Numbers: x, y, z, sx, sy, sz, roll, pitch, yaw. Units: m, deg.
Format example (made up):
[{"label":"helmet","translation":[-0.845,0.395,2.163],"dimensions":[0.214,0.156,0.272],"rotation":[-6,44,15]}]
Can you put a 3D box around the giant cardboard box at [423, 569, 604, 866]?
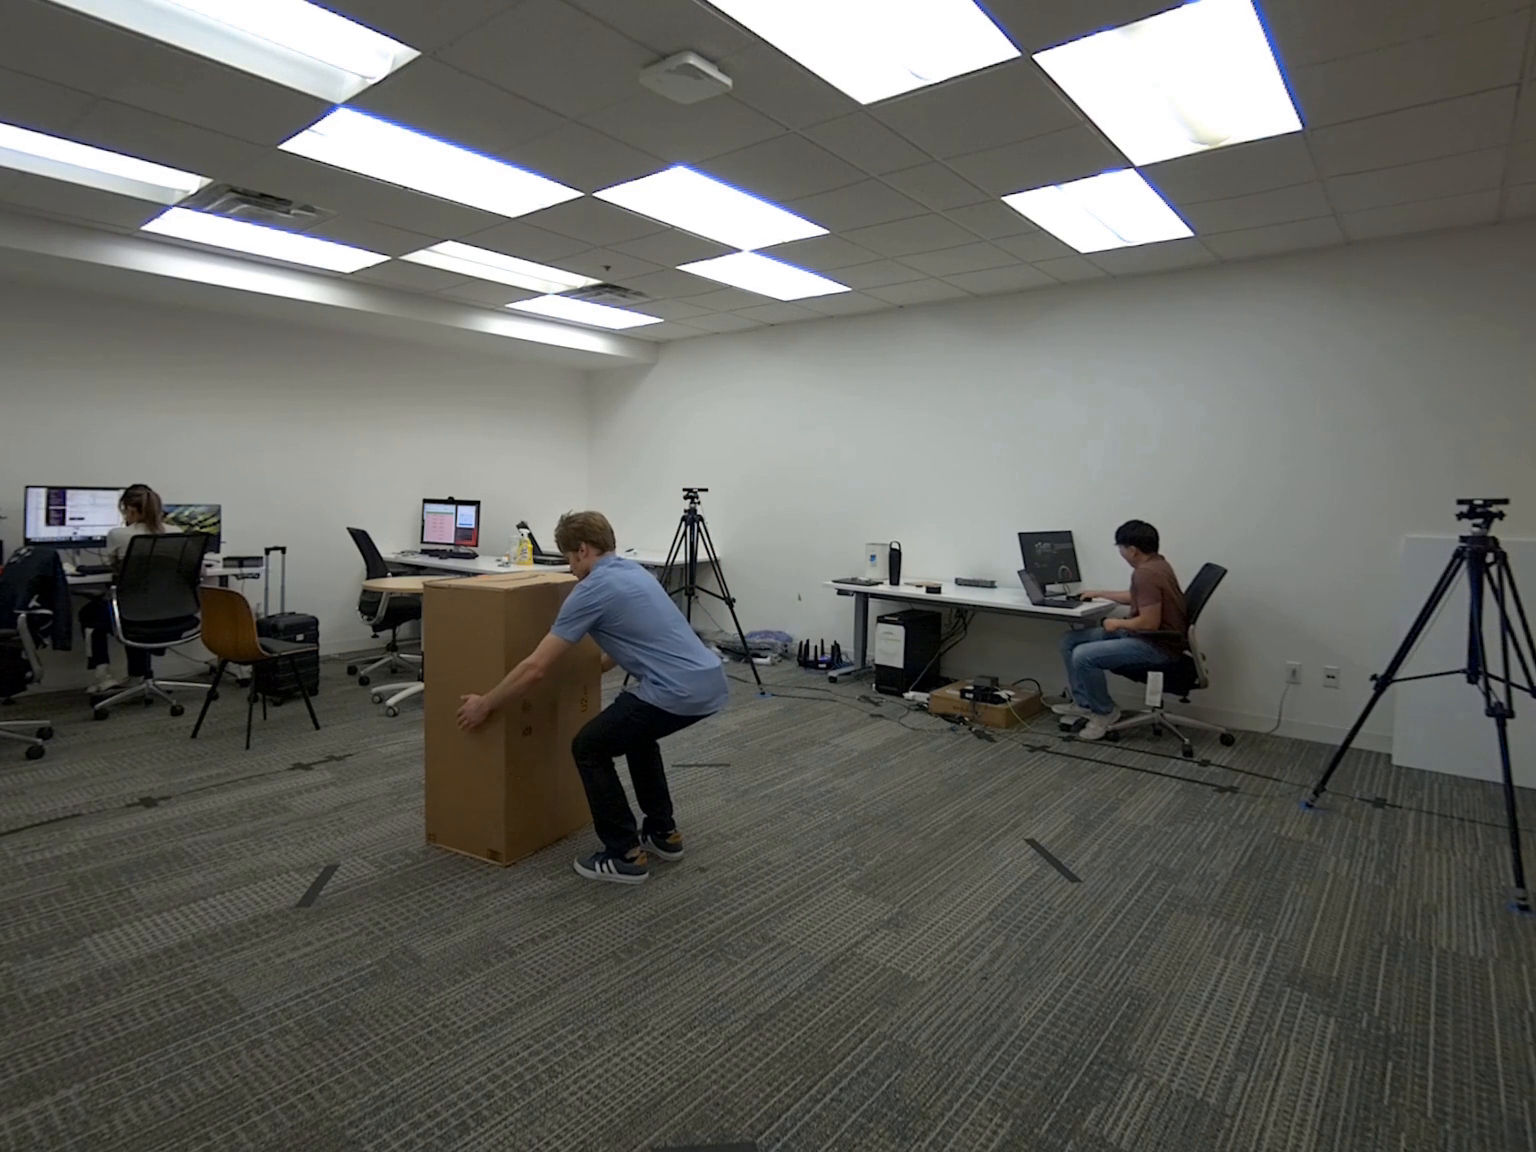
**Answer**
[{"label":"giant cardboard box","translation":[-1.031,0.518,3.417],"dimensions":[0.438,1.023,0.563],"rotation":[2,4,29]}]
